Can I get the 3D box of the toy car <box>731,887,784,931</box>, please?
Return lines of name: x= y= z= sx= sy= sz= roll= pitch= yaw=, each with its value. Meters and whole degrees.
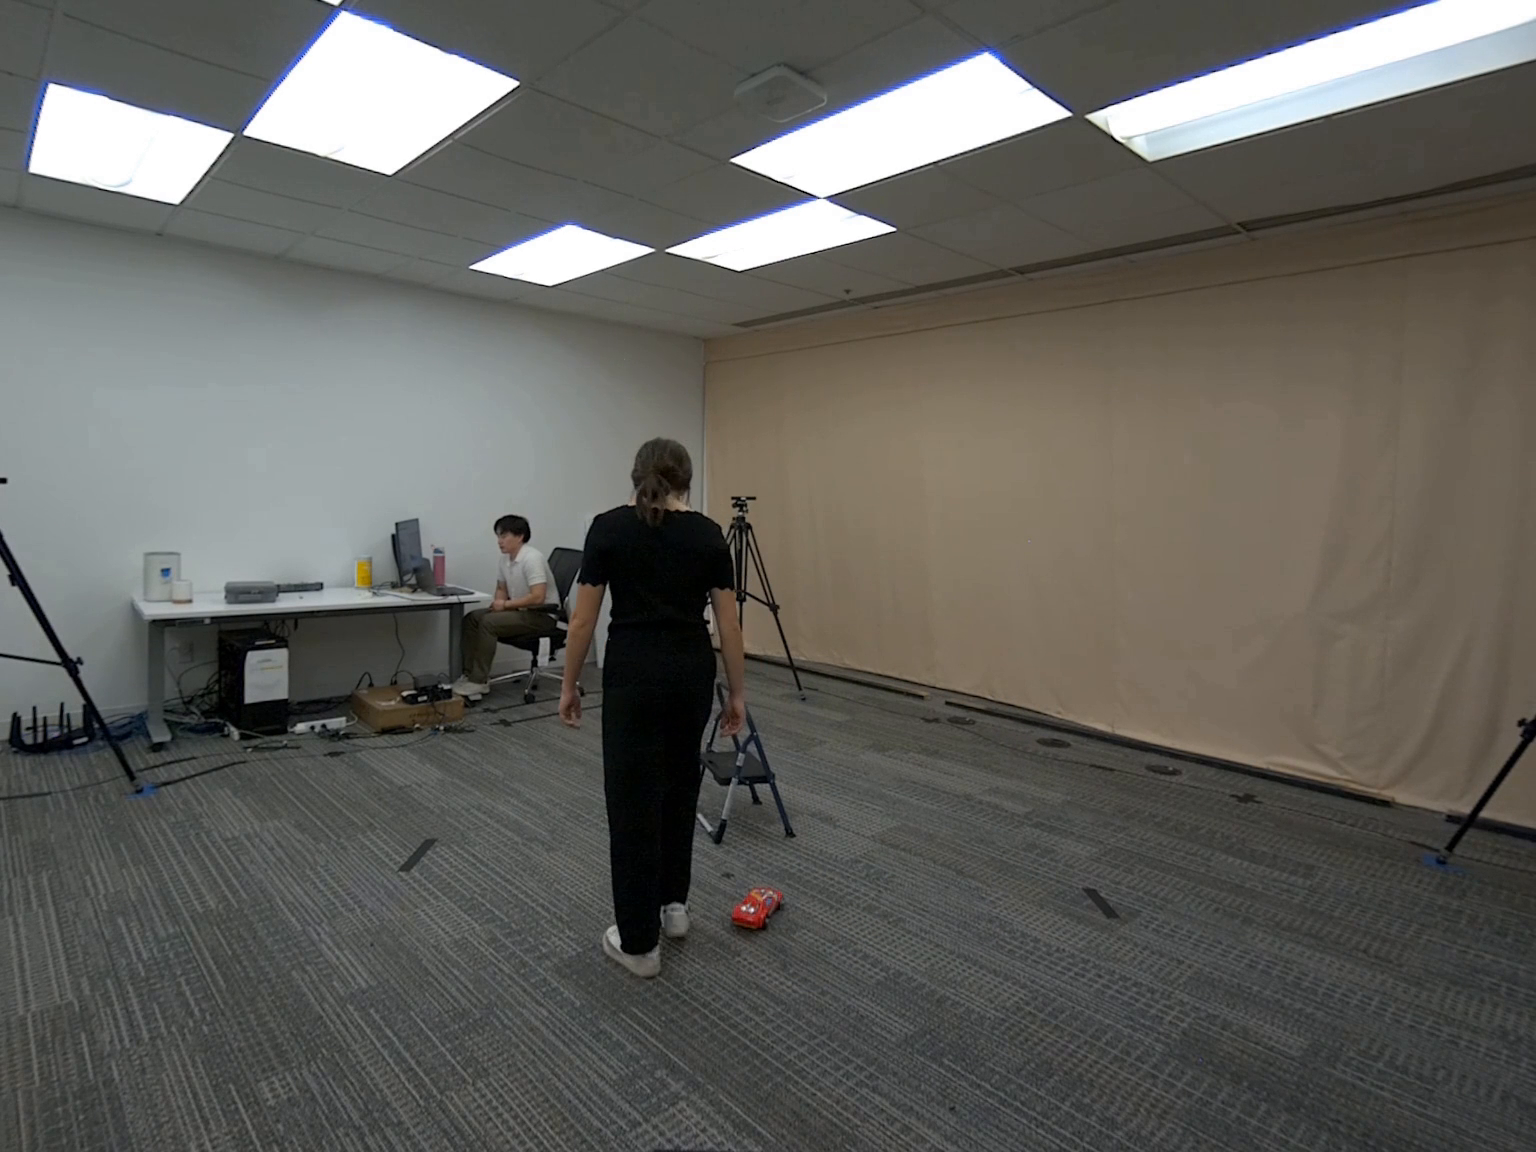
toy car: x=-0.049 y=1.111 z=2.783 sx=0.133 sy=0.083 sz=0.249 roll=6 pitch=-4 yaw=21
